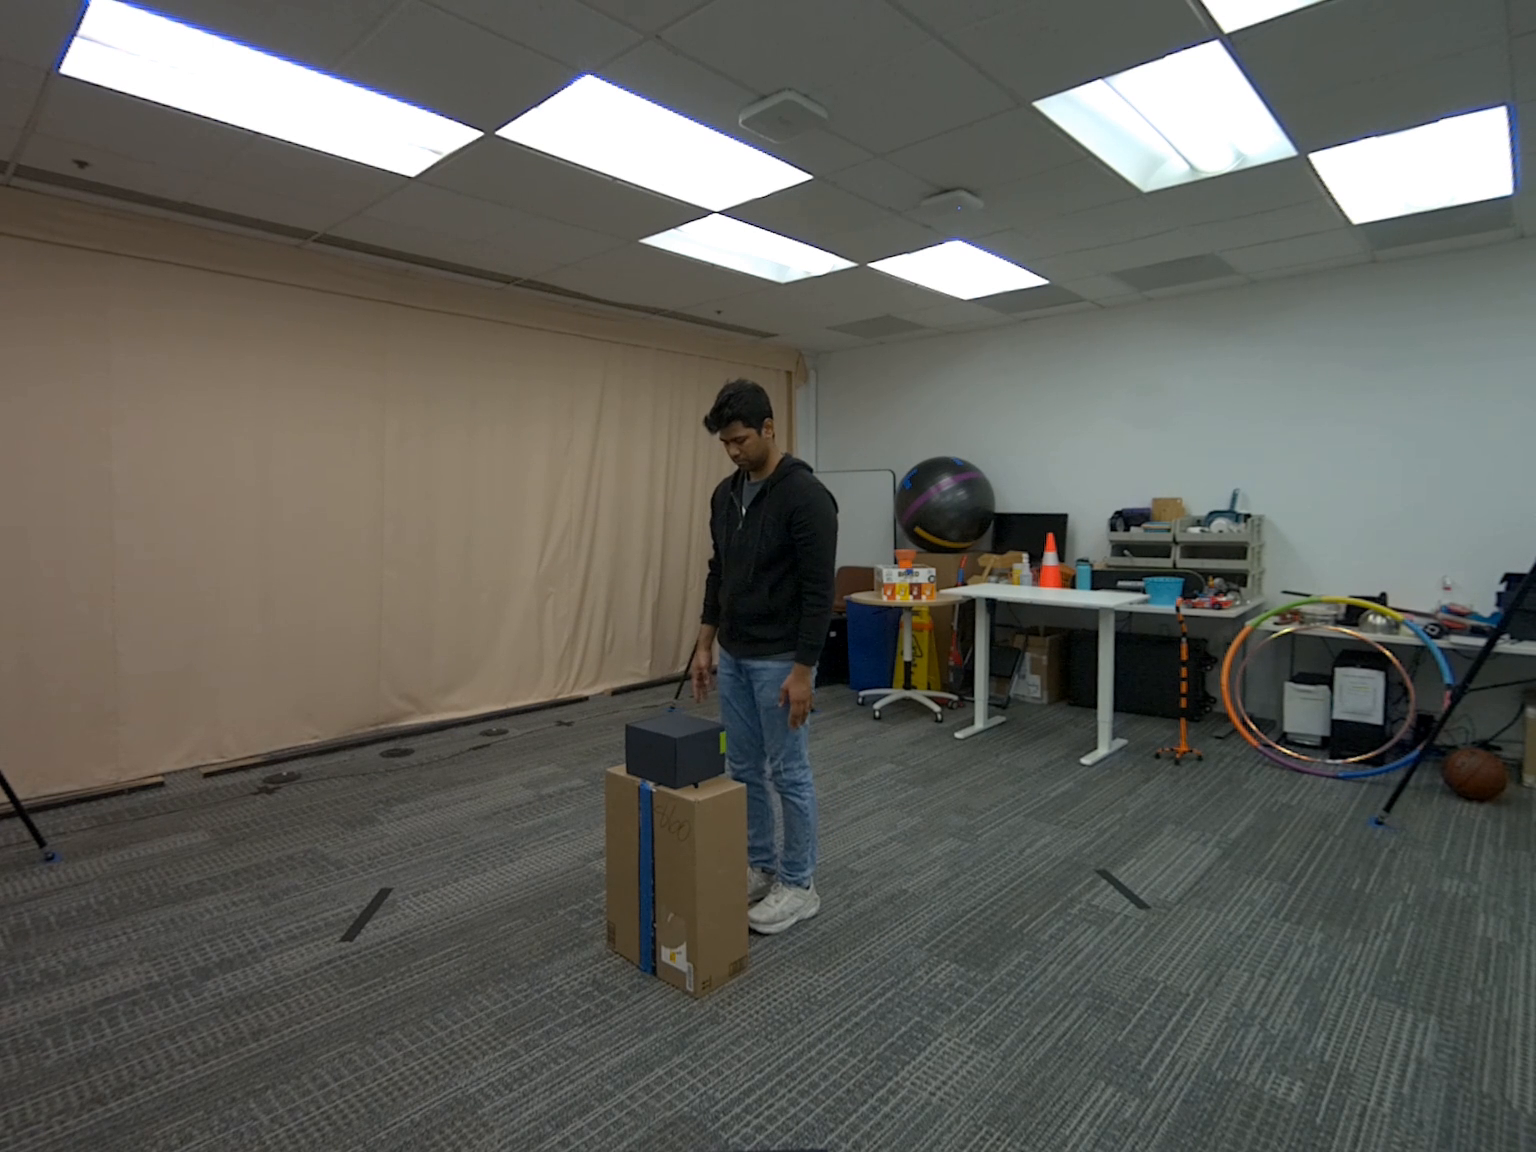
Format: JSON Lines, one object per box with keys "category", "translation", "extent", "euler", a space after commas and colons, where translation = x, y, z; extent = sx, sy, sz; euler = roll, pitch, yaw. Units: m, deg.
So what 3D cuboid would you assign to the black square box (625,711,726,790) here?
{"category": "black square box", "translation": [-0.288, 0.533, 2.594], "extent": [0.235, 0.155, 0.210], "euler": [4, 5, 42]}
